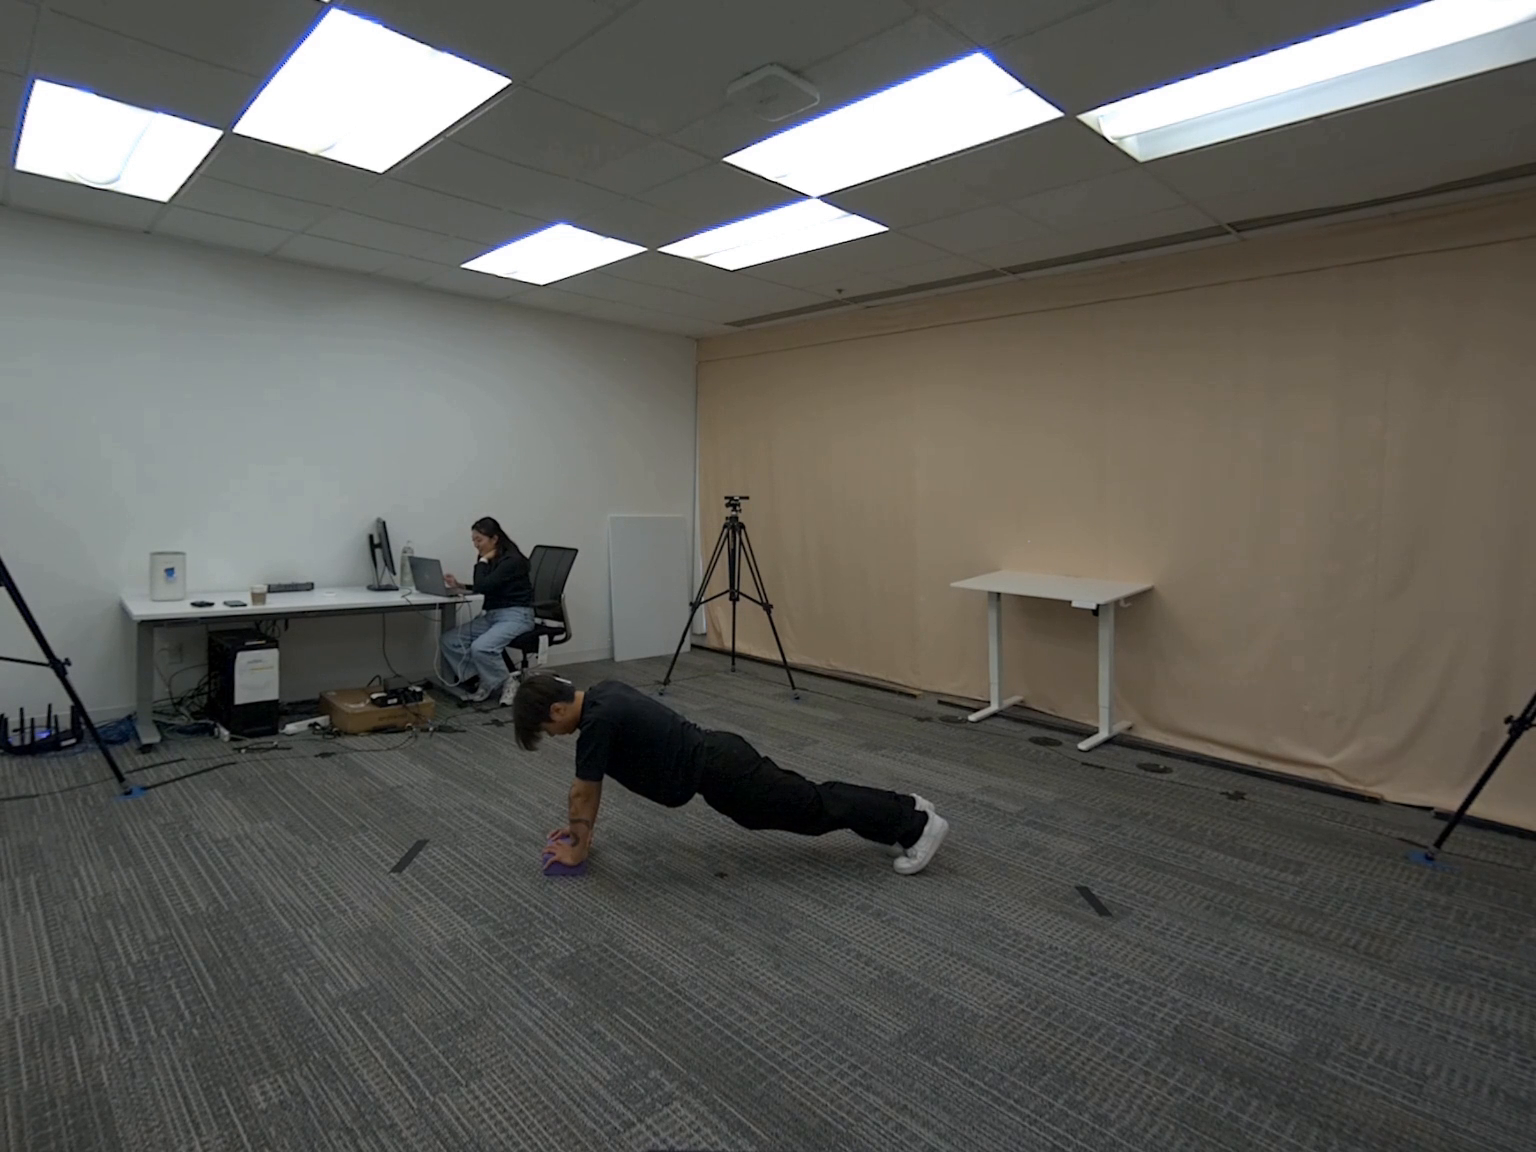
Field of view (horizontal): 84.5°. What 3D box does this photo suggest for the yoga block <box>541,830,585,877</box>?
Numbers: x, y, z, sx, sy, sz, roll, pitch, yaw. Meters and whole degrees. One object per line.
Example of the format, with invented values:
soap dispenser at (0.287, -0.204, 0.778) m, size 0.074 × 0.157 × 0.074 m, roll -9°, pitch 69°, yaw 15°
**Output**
yoga block at (-0.763, 1.041, 3.179) m, size 0.148 × 0.076 × 0.231 m, roll 1°, pitch 6°, yaw -8°
